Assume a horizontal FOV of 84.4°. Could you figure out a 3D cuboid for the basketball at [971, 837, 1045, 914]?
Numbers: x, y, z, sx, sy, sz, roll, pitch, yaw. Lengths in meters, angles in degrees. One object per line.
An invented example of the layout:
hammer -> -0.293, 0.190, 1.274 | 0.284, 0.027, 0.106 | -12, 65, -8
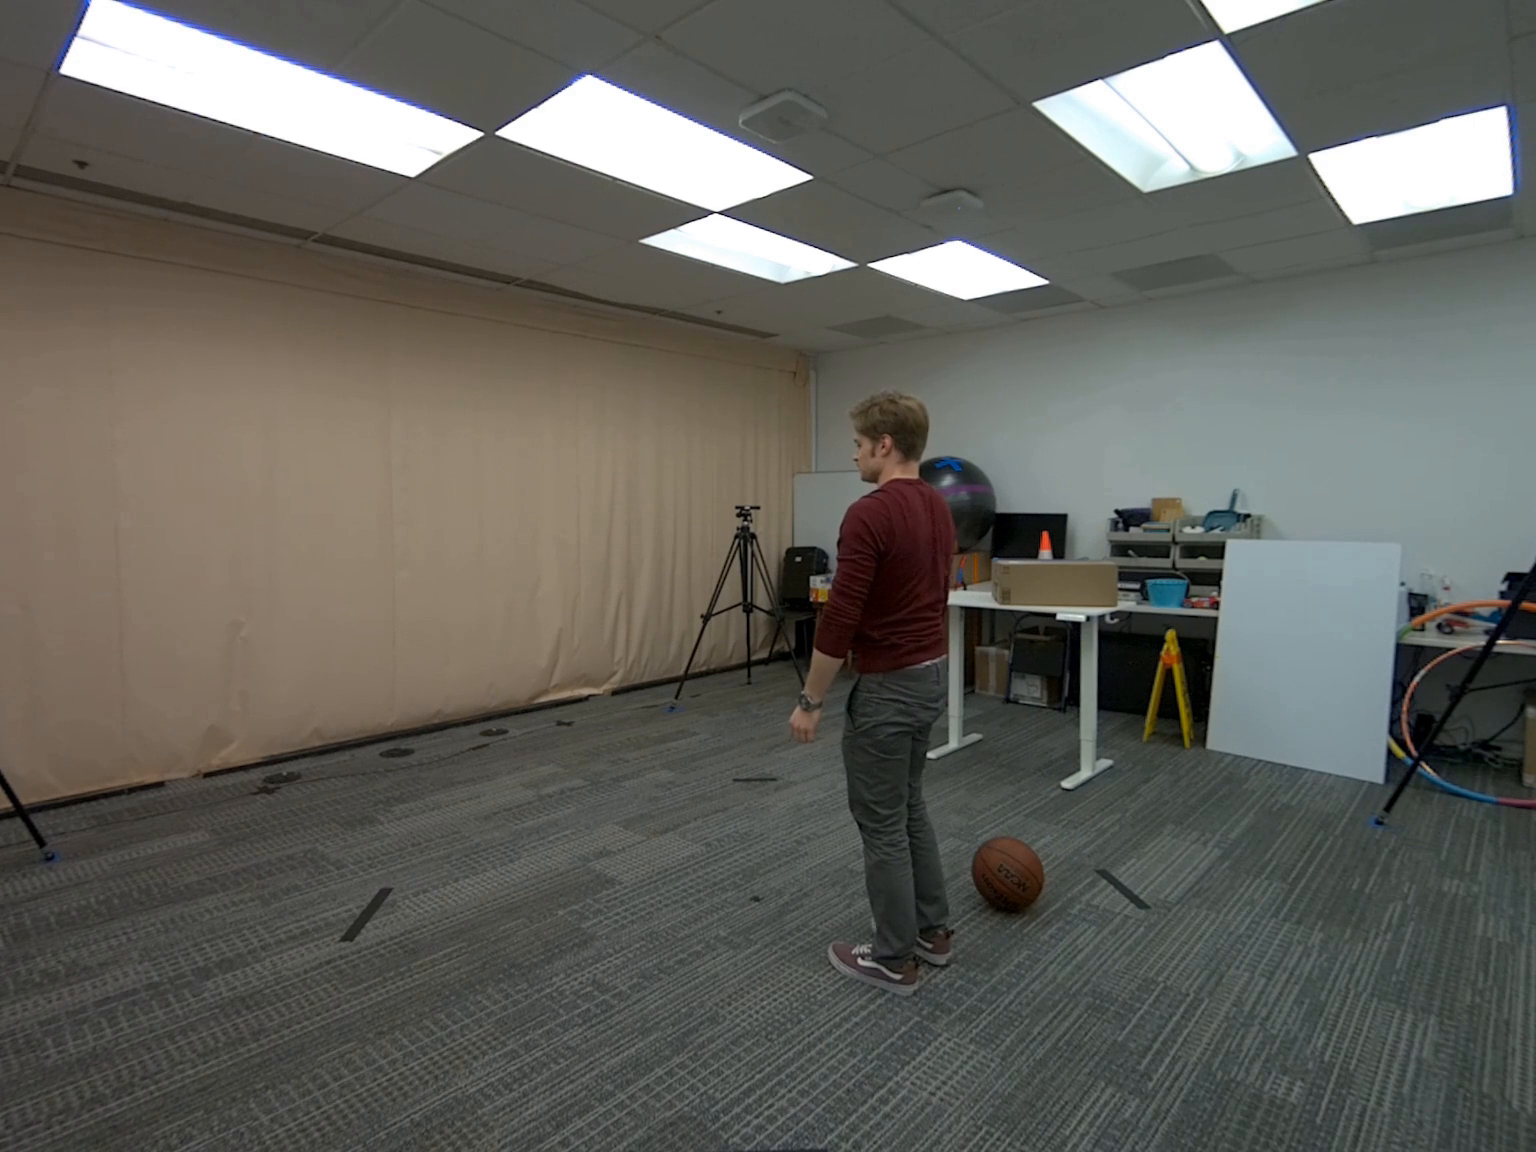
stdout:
basketball -> 0.838, 1.029, 2.919 | 0.236, 0.235, 0.237 | 0, 4, -2
